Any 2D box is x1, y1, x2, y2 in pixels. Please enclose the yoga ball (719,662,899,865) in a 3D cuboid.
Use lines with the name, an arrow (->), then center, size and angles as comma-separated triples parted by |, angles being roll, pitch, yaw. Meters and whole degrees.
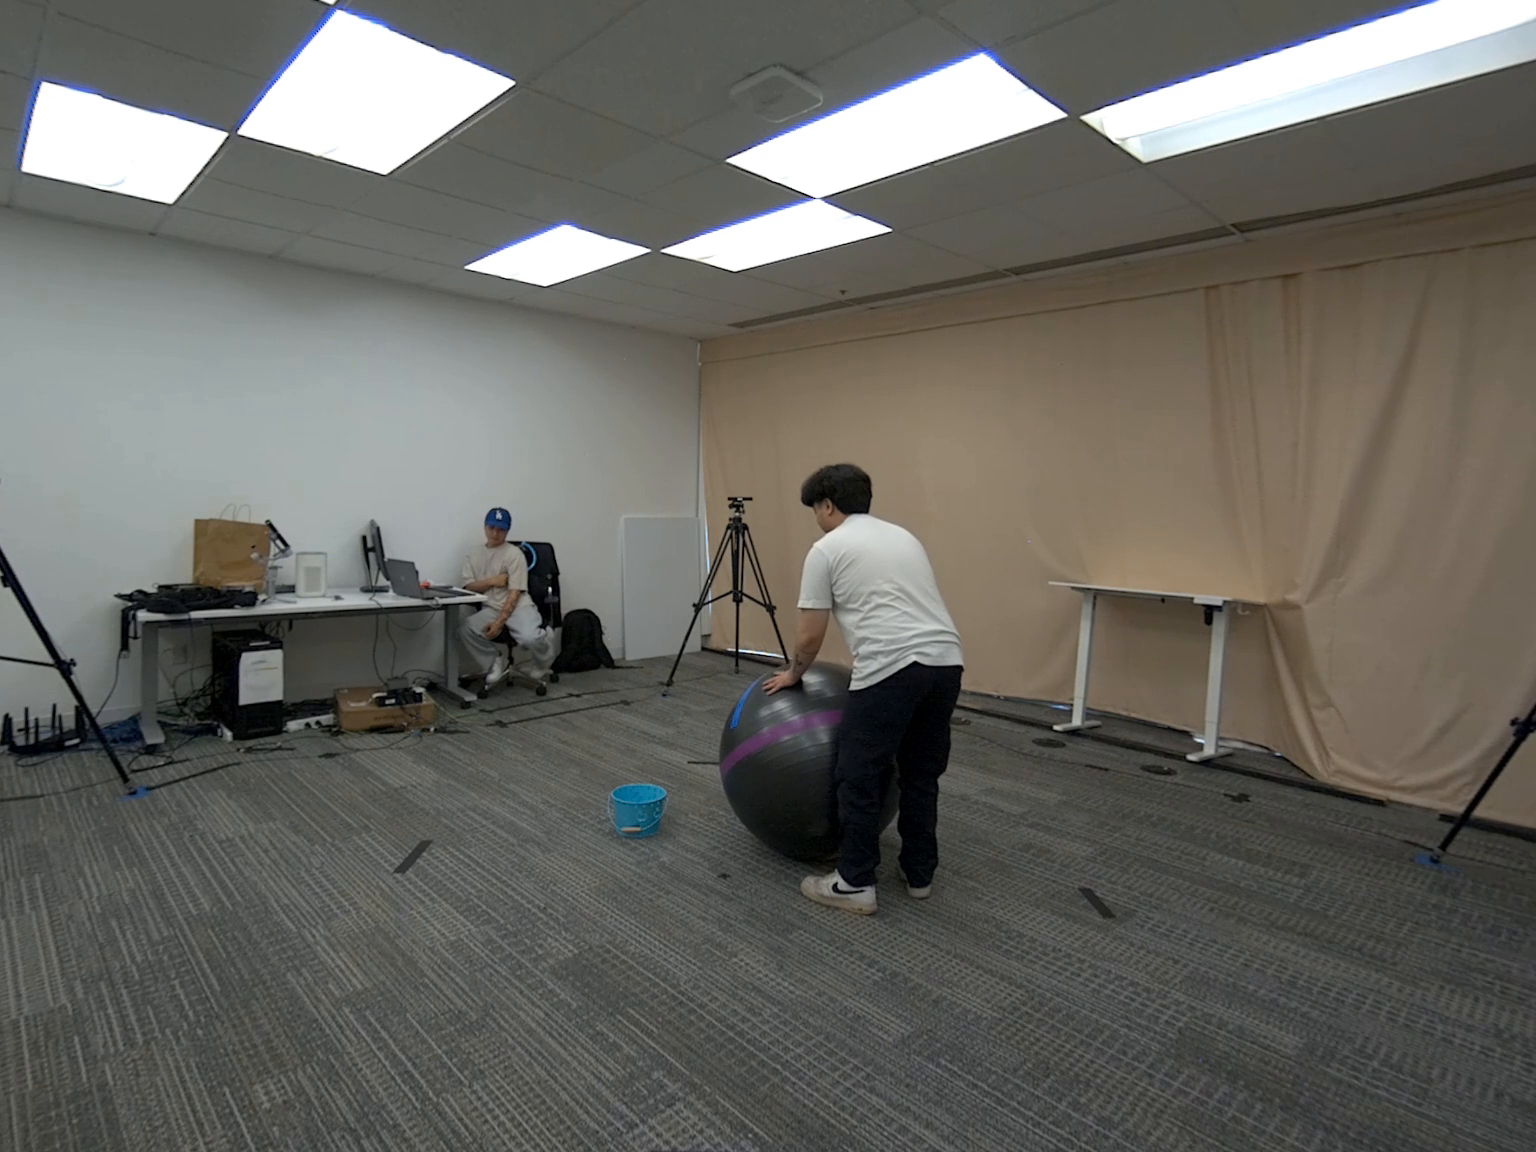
yoga ball -> 0.178, 0.723, 3.357 | 0.757, 0.756, 0.761 | 1, 4, -1
